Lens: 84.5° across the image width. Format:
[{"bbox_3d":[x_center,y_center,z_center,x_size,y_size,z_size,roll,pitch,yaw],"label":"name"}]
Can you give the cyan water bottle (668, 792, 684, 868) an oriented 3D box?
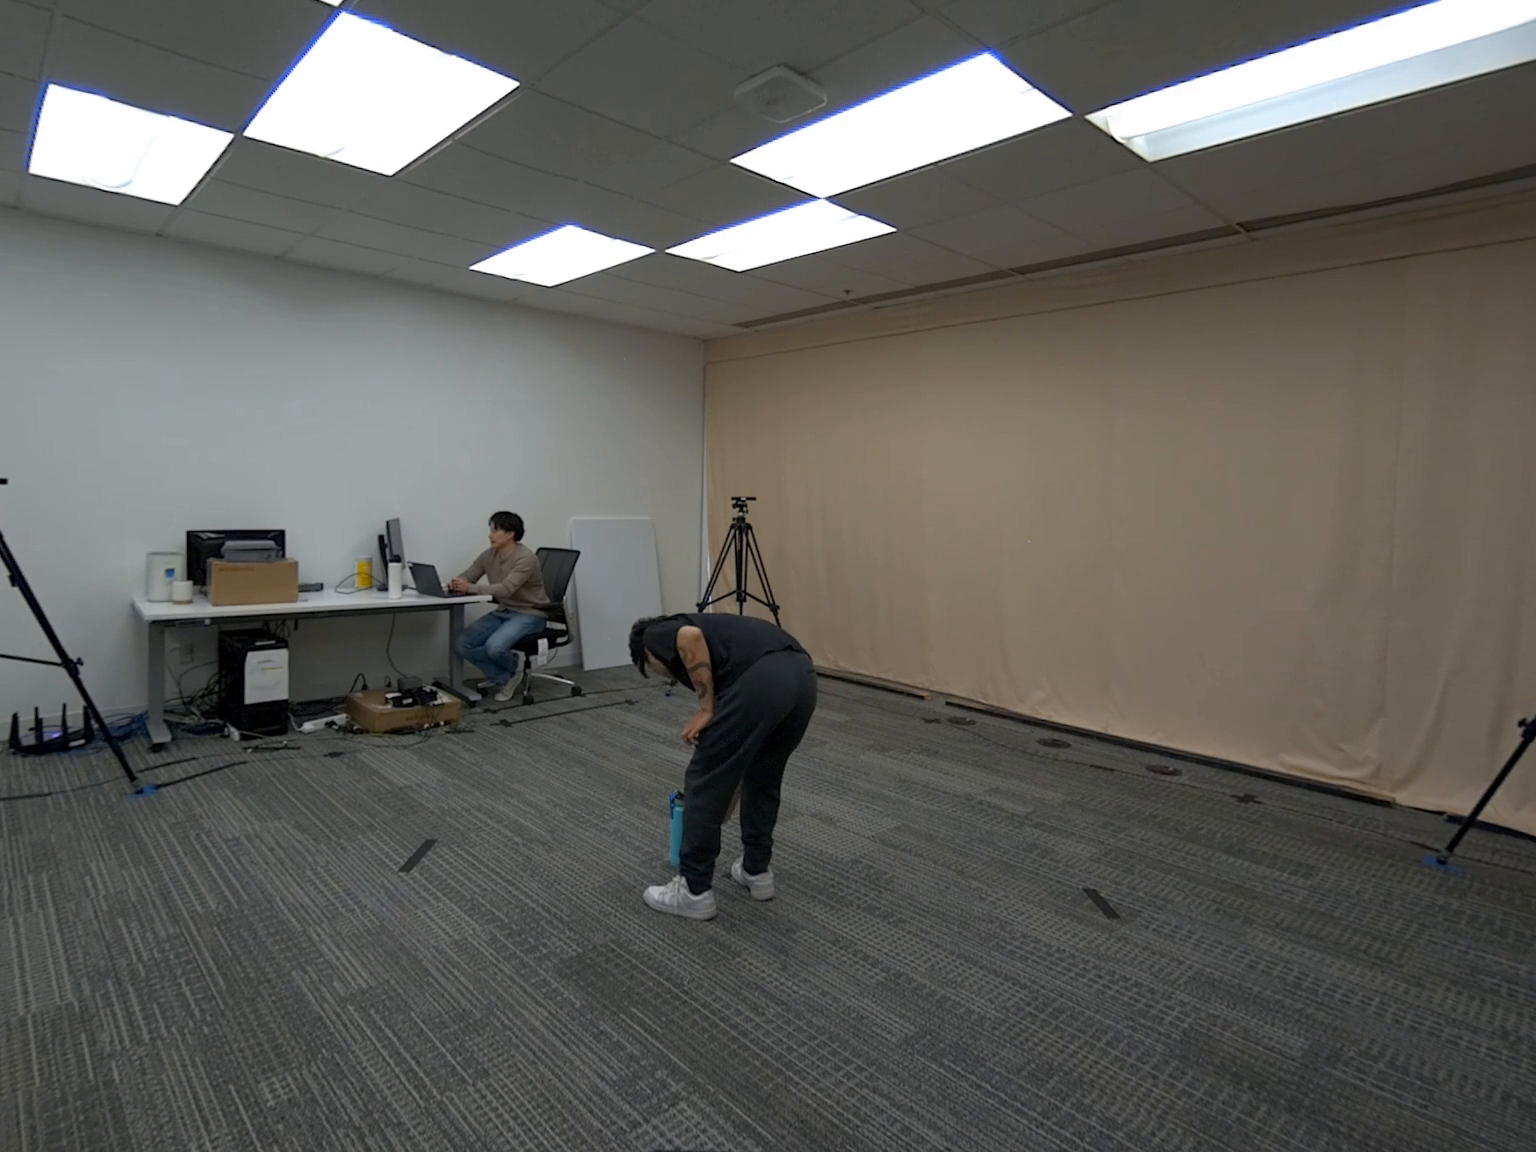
[{"bbox_3d":[-0.338,0.951,3.196,0.092,0.283,0.092,0,3,-1],"label":"cyan water bottle"}]
